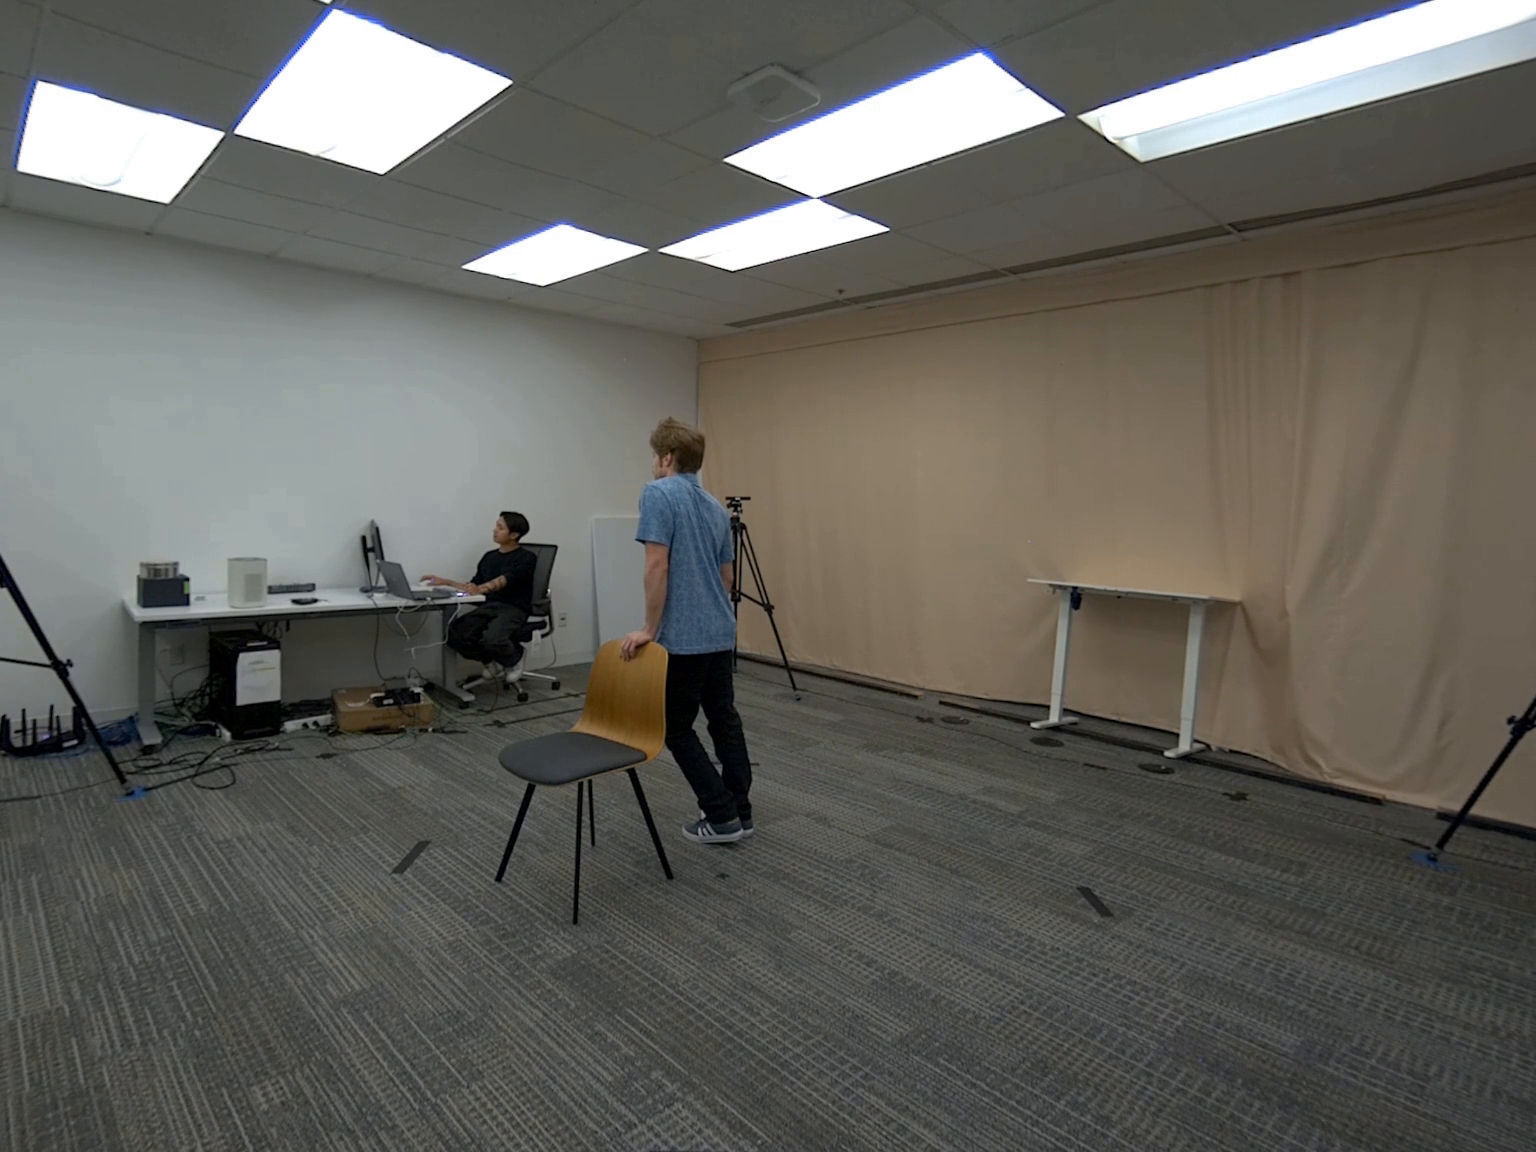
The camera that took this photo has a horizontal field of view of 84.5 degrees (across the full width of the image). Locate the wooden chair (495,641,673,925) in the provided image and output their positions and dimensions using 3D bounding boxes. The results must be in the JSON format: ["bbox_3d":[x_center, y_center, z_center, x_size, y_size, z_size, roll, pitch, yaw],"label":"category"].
[{"bbox_3d":[-0.657,0.678,3.000,0.490,0.877,0.510,5,0,40],"label":"wooden chair"}]
